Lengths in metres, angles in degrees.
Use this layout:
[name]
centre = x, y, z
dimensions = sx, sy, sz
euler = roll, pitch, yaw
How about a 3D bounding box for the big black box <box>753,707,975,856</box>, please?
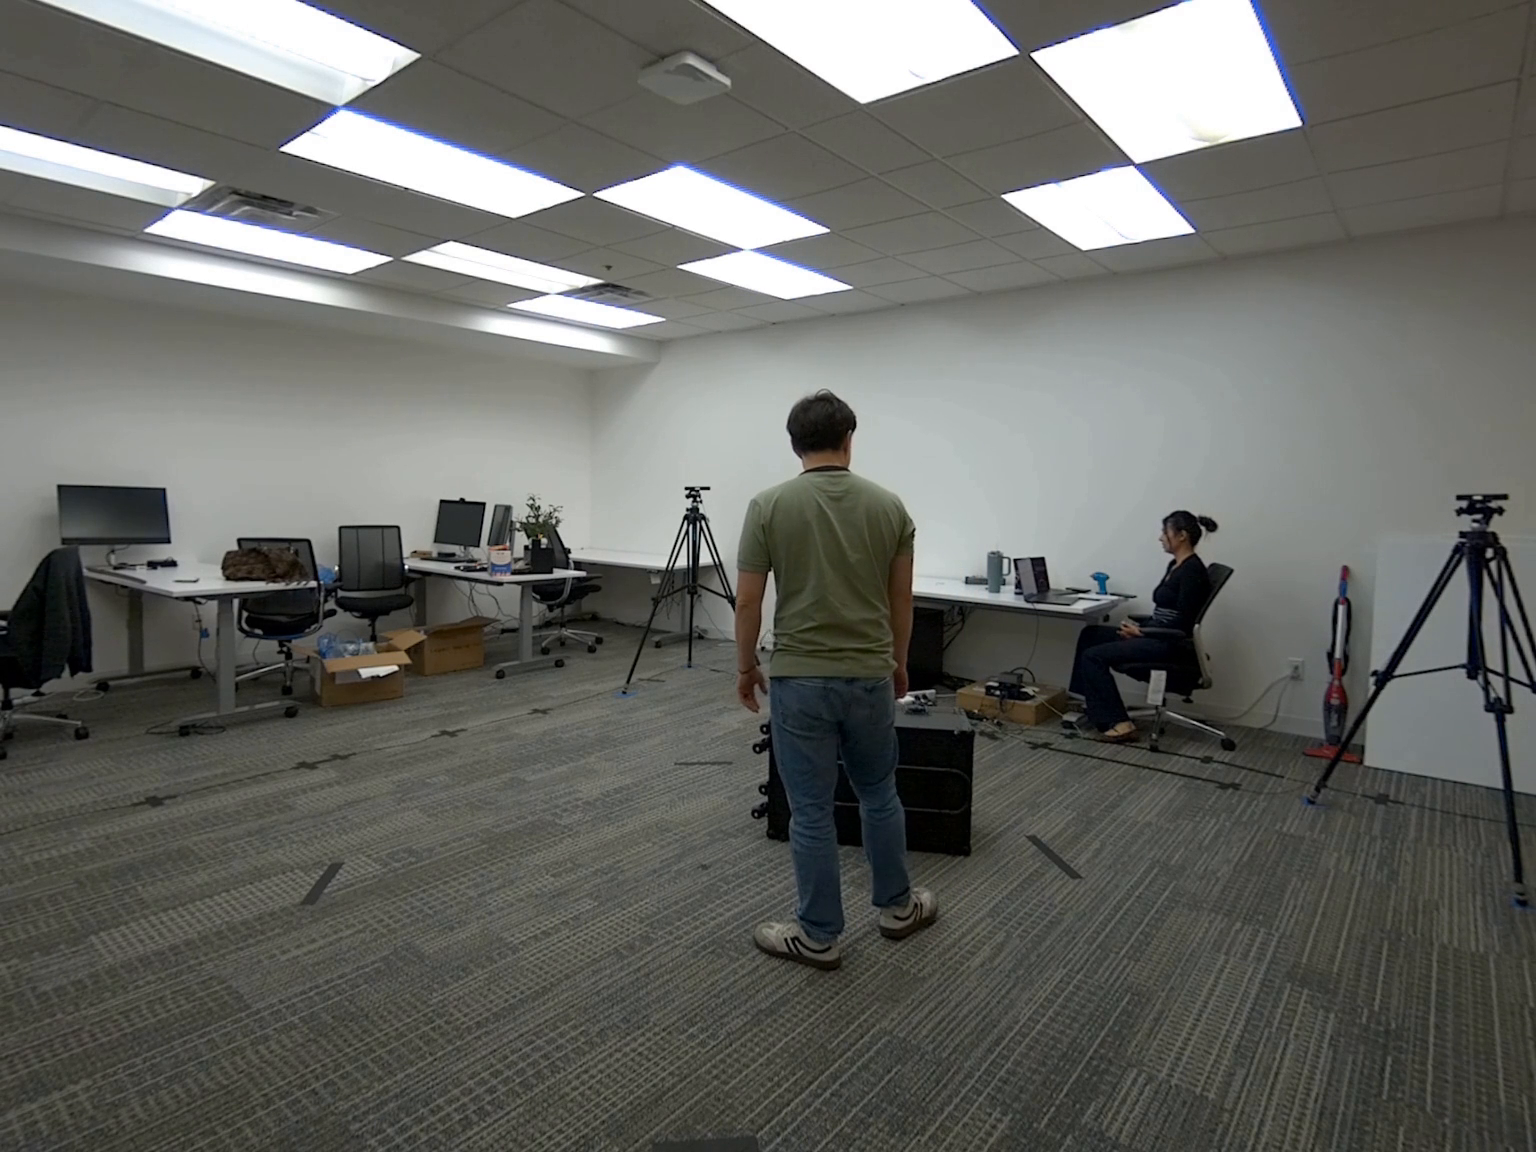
[big black box]
centre = 0.425, 0.789, 3.455
dimensions = 0.869, 0.519, 0.394
euler = 1, 4, 8
